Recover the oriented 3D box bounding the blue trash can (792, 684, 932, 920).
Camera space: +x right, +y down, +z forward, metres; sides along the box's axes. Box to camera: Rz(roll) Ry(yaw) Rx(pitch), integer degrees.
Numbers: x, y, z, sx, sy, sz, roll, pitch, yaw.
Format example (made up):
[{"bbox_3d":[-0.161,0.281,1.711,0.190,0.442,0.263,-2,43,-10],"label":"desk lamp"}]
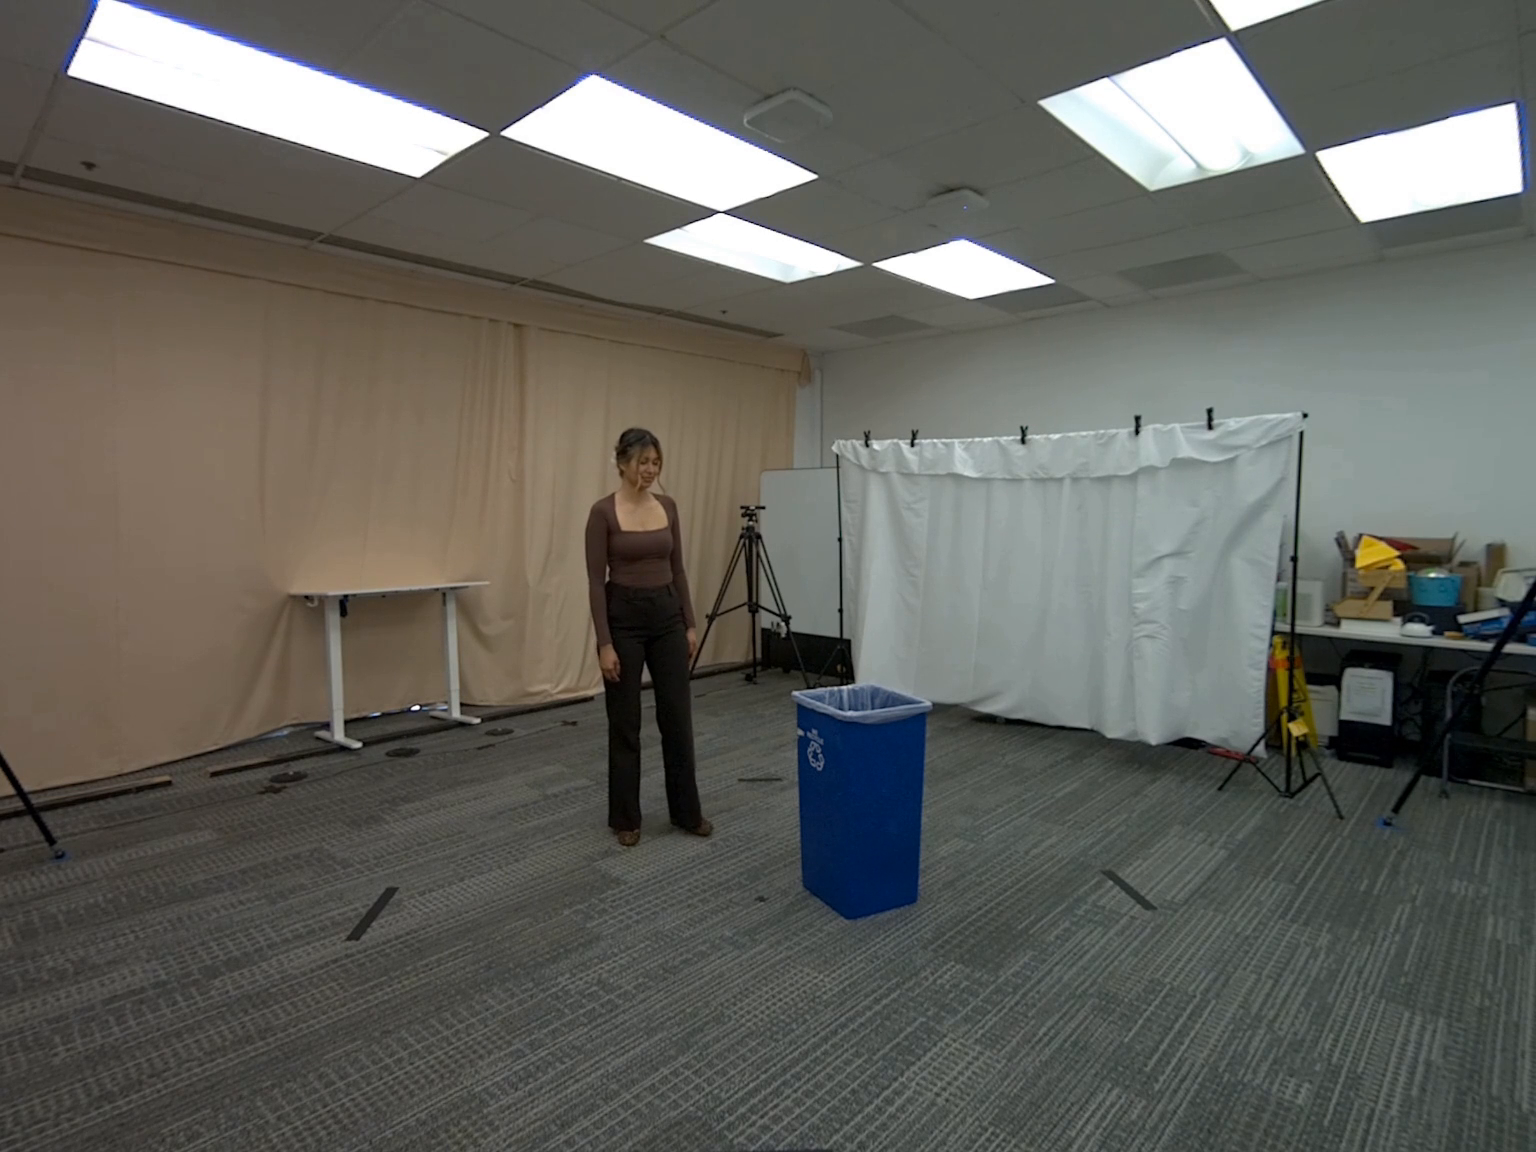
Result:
[{"bbox_3d":[0.336,0.783,2.996,0.368,0.712,0.385,-2,4,-29],"label":"blue trash can"}]
